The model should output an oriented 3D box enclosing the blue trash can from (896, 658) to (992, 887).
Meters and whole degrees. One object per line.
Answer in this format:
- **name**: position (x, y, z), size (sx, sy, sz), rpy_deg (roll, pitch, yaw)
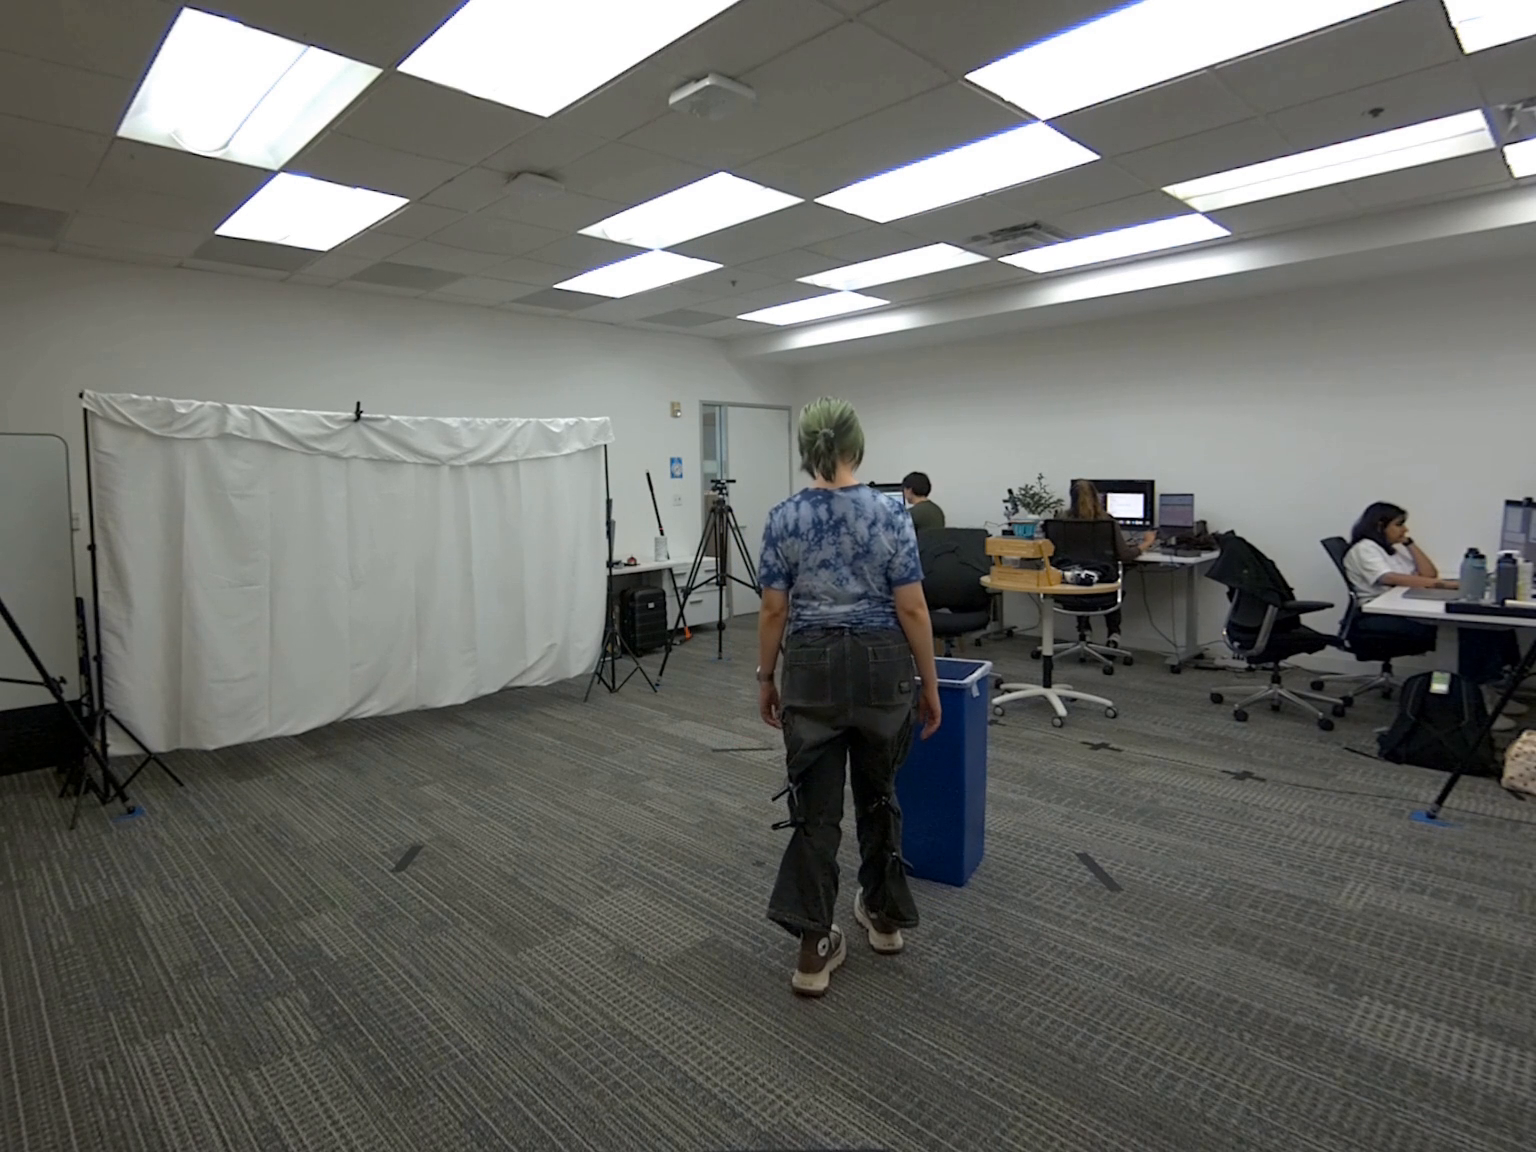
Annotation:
- **blue trash can**: position (0.584, 0.681, 3.080), size (0.384, 0.711, 0.370), rpy_deg (1, 4, 29)
